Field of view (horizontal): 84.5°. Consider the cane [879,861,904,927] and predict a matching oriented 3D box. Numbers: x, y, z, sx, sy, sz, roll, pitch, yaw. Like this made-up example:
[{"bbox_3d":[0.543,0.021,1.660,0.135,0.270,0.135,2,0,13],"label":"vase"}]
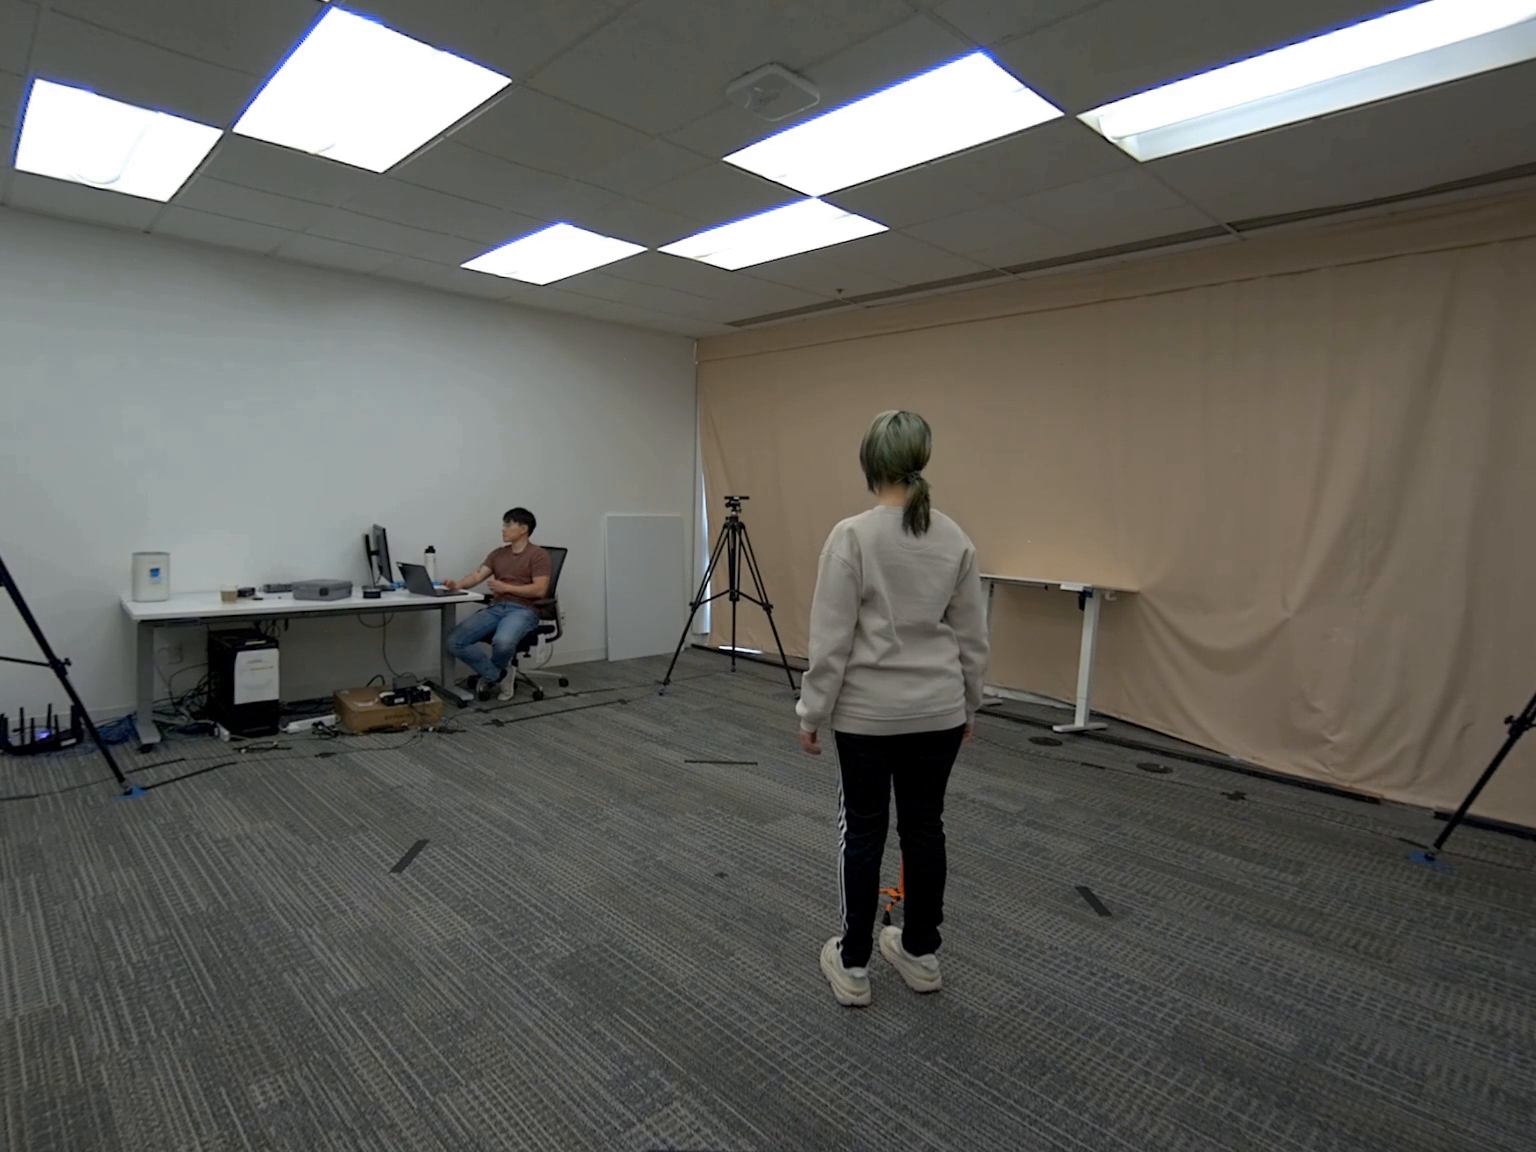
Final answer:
[{"bbox_3d":[0.465,0.693,2.824,0.204,0.905,0.154,0,4,-14],"label":"cane"}]
